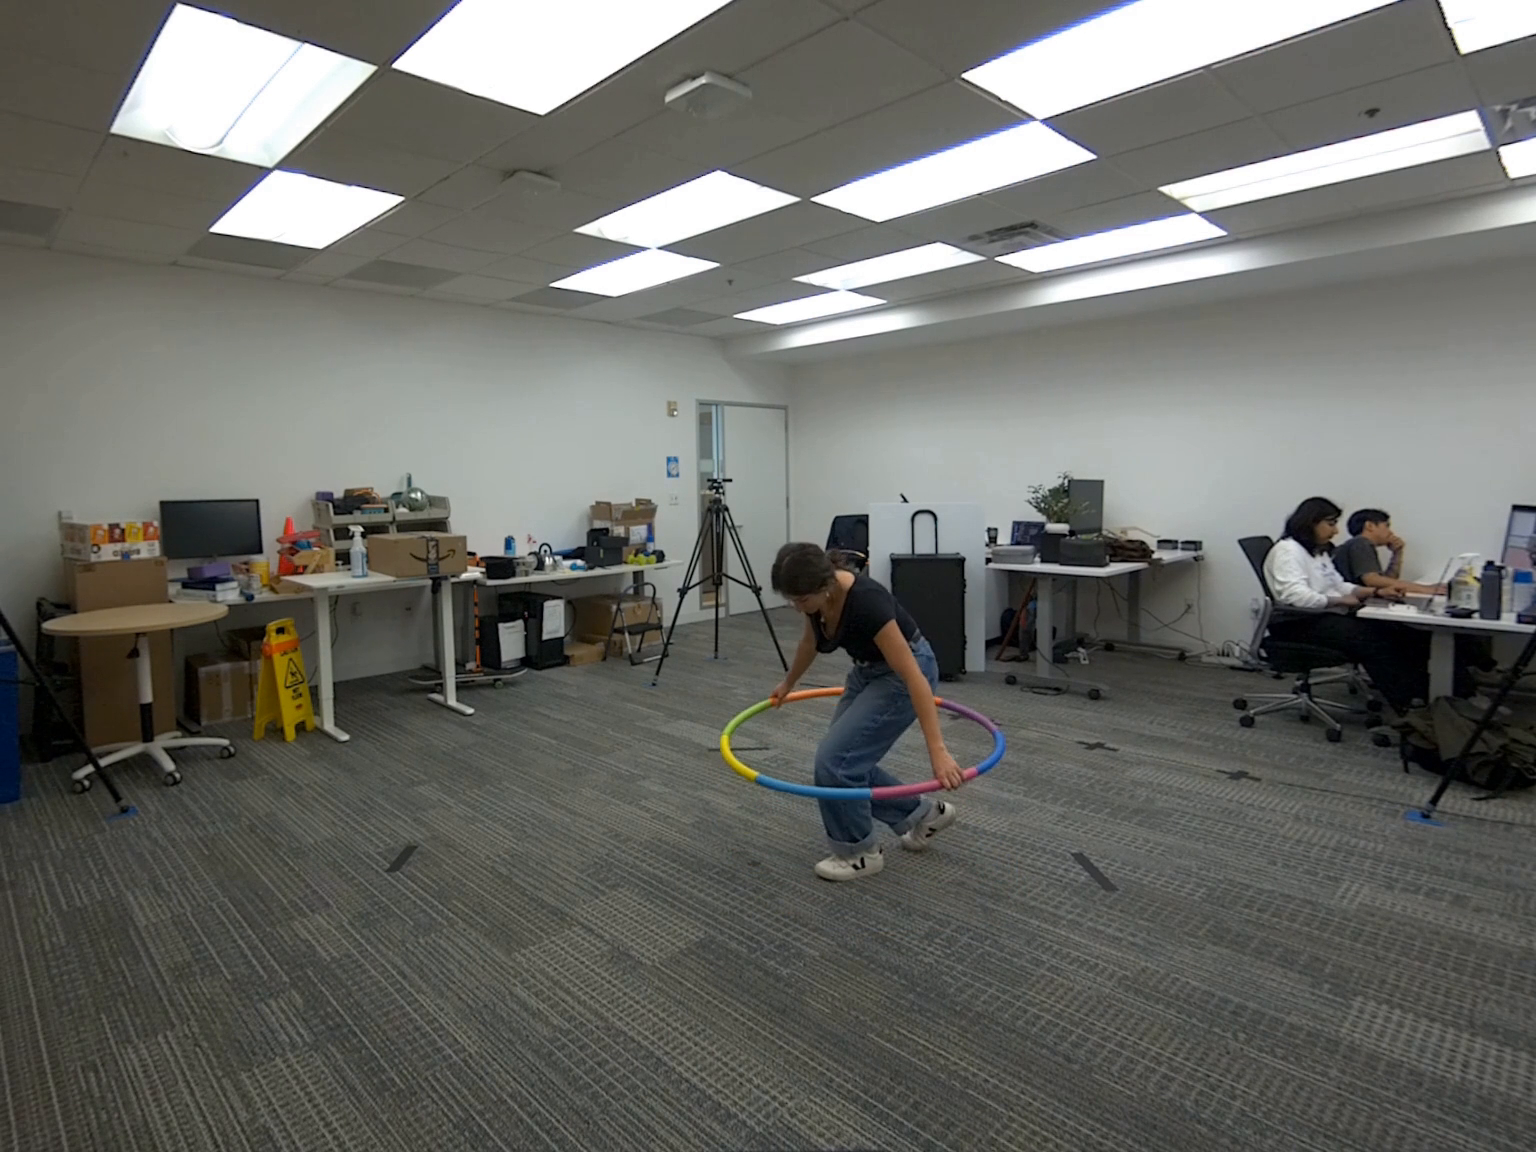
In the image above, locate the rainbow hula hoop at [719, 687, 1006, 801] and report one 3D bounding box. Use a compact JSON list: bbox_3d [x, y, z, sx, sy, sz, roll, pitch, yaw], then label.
[{"bbox_3d":[0.323,0.558,3.017,0.978,0.035,0.988,-3,11,-1],"label":"rainbow hula hoop"}]
